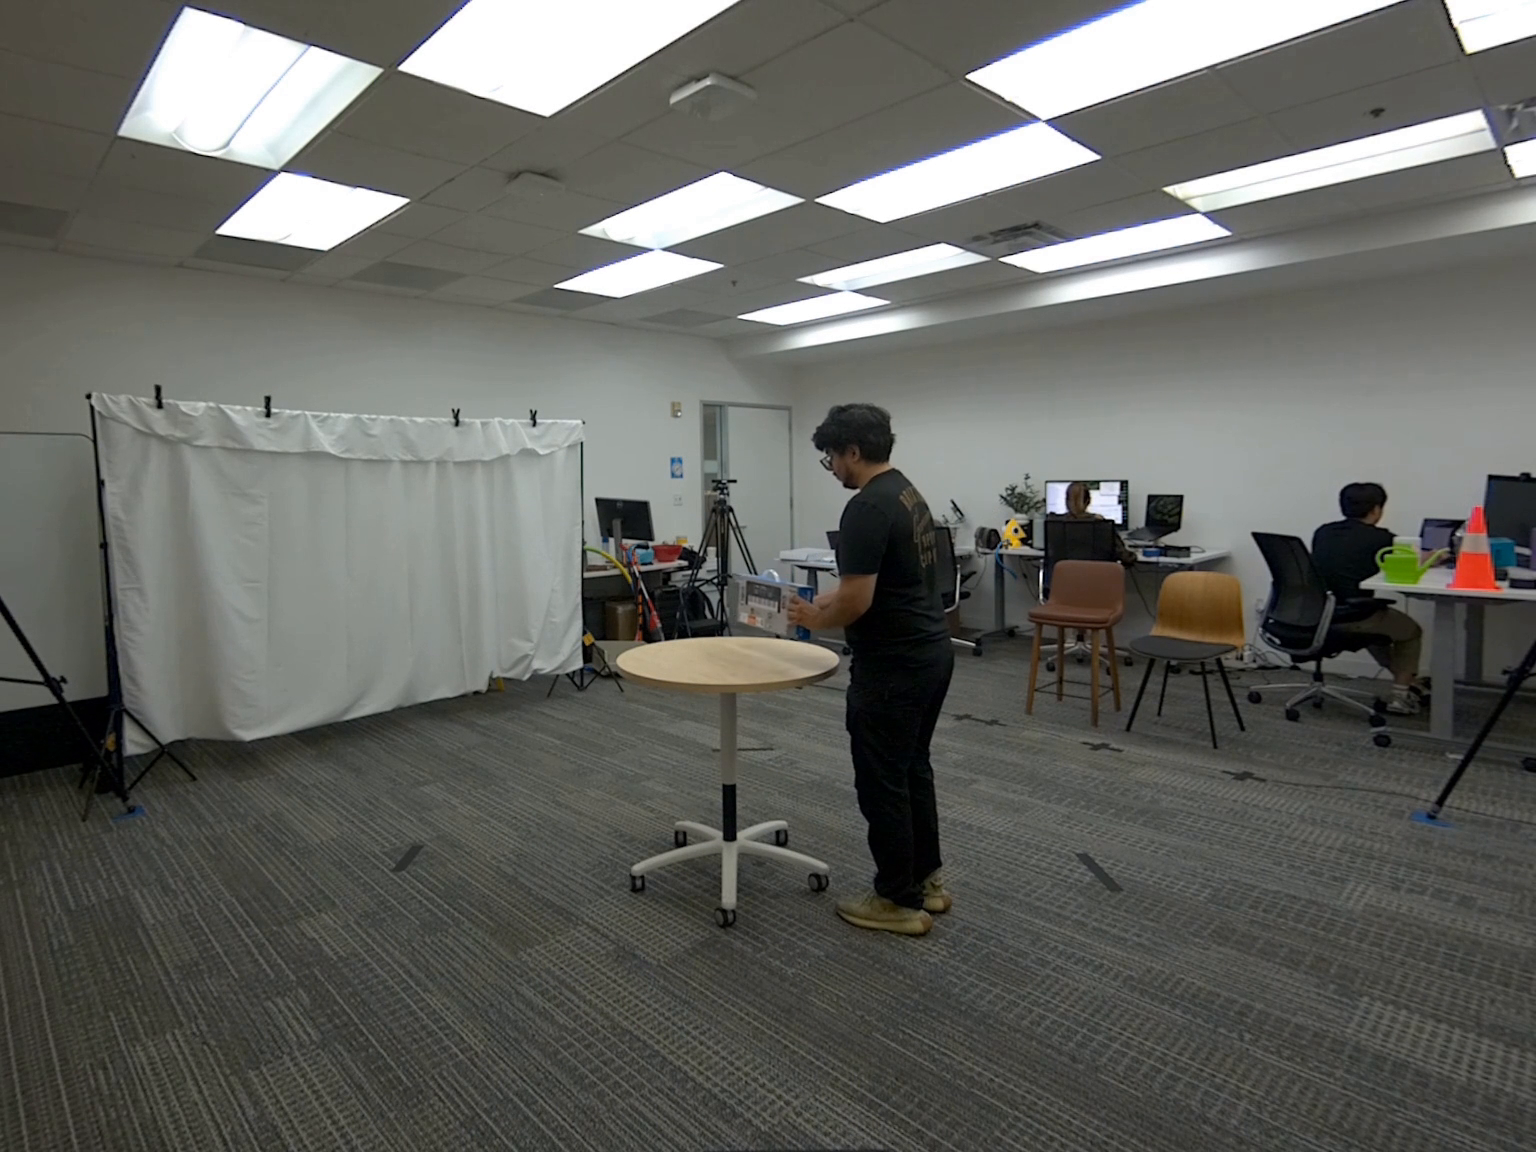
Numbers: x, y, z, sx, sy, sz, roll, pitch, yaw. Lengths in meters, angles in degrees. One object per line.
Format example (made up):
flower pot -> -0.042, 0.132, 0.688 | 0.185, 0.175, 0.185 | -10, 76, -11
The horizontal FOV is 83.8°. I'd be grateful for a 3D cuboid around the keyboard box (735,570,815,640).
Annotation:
keyboard box -> 0.007, 0.098, 2.943 | 0.057, 0.175, 0.449 | 2, 5, -30
